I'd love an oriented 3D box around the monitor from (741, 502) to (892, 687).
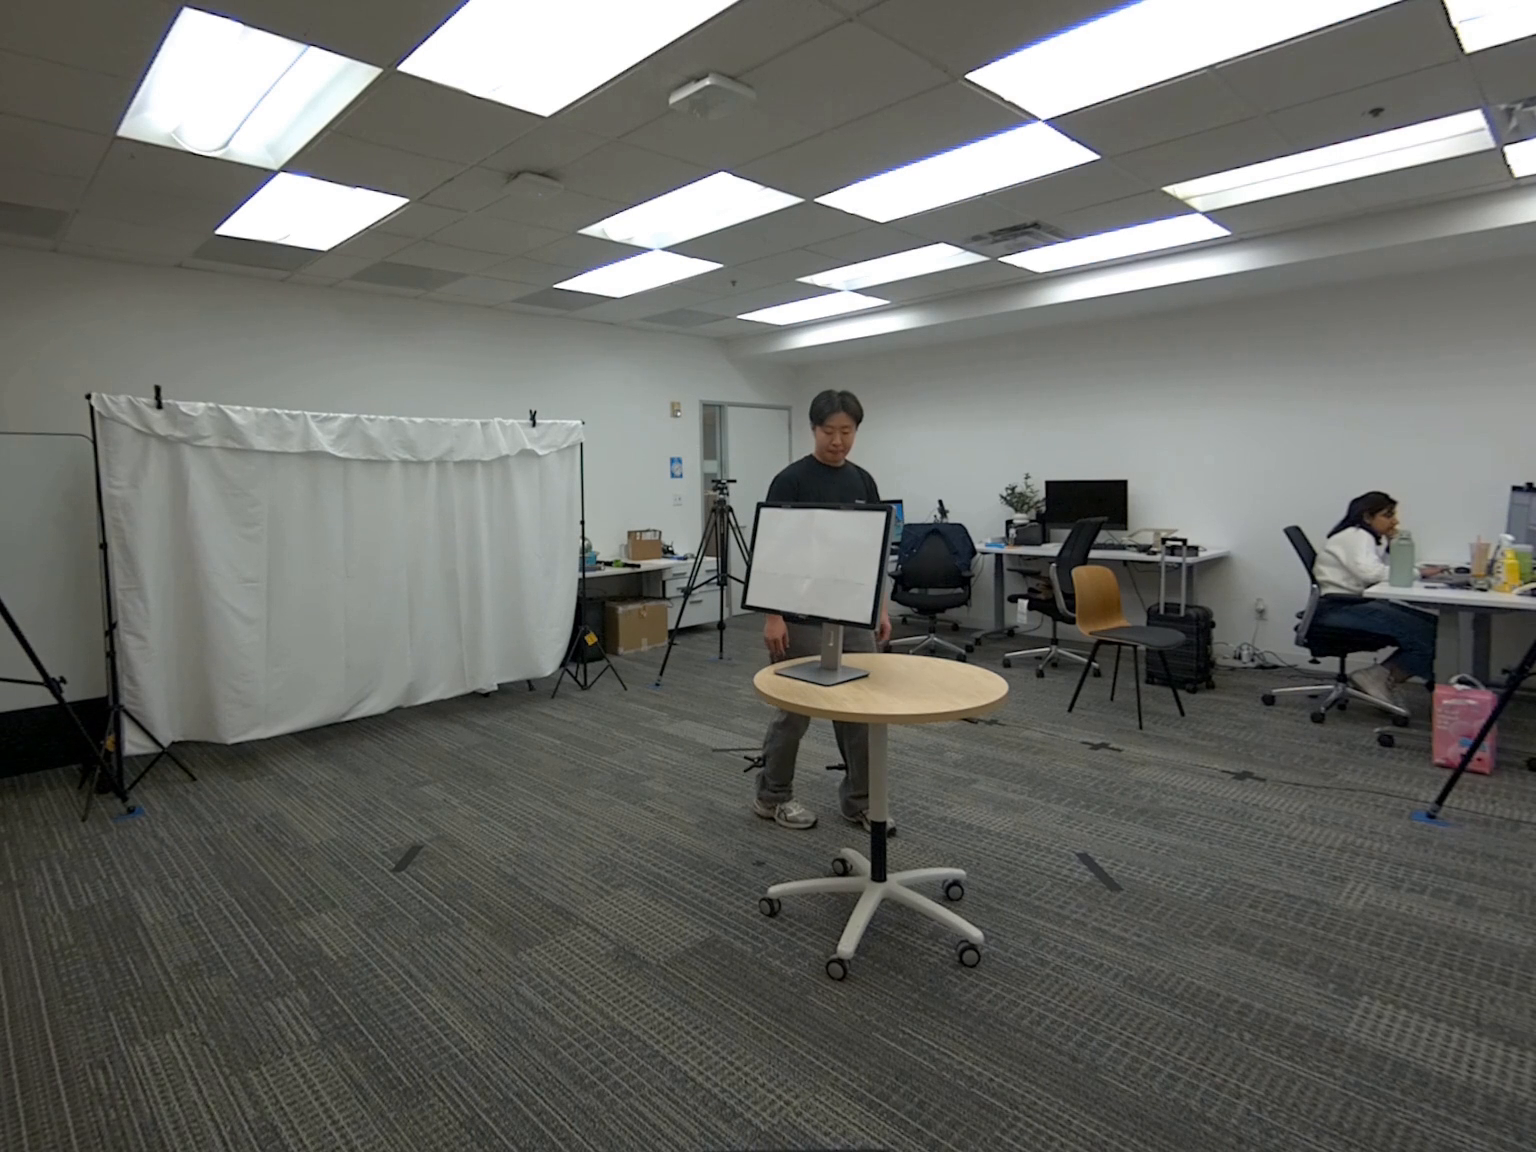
[{"bbox_3d":[0.185,0.048,2.697,0.204,0.554,0.583,4,0,-44],"label":"monitor"}]
